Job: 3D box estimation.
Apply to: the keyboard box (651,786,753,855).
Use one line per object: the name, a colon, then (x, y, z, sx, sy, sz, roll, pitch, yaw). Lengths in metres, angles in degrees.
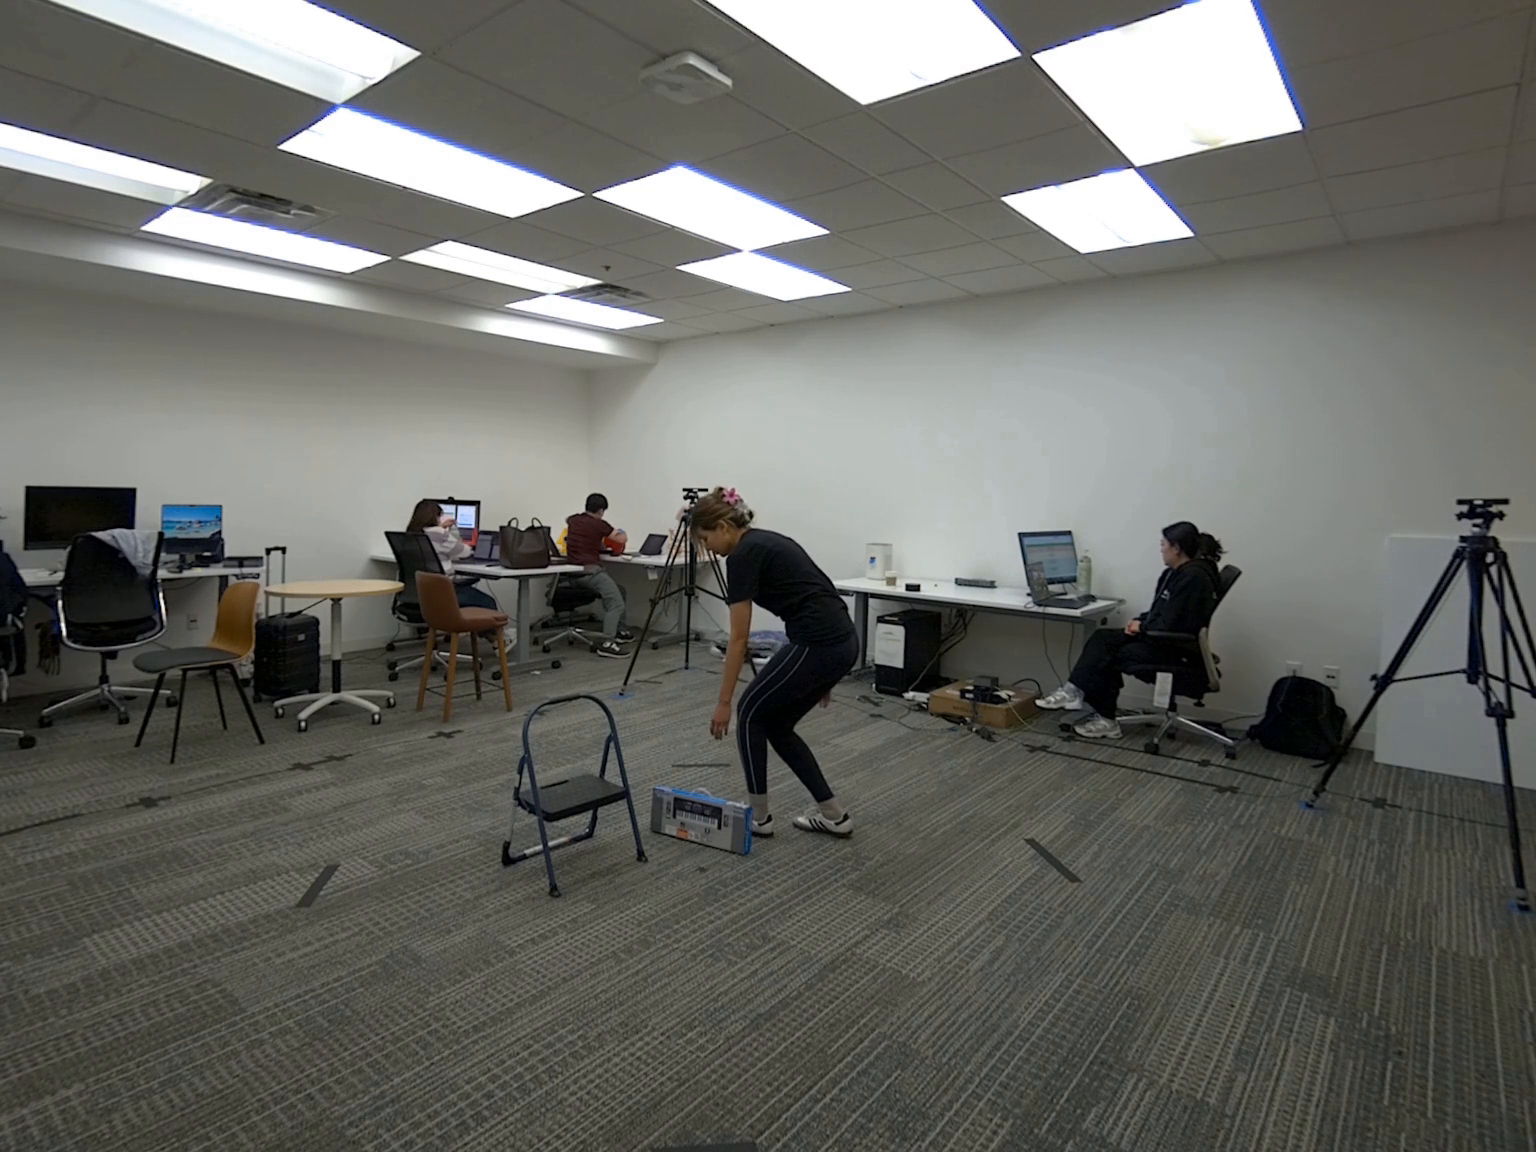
keyboard box: (-0.279, 0.957, 3.362, 0.450, 0.176, 0.057, 4, -1, 30)
